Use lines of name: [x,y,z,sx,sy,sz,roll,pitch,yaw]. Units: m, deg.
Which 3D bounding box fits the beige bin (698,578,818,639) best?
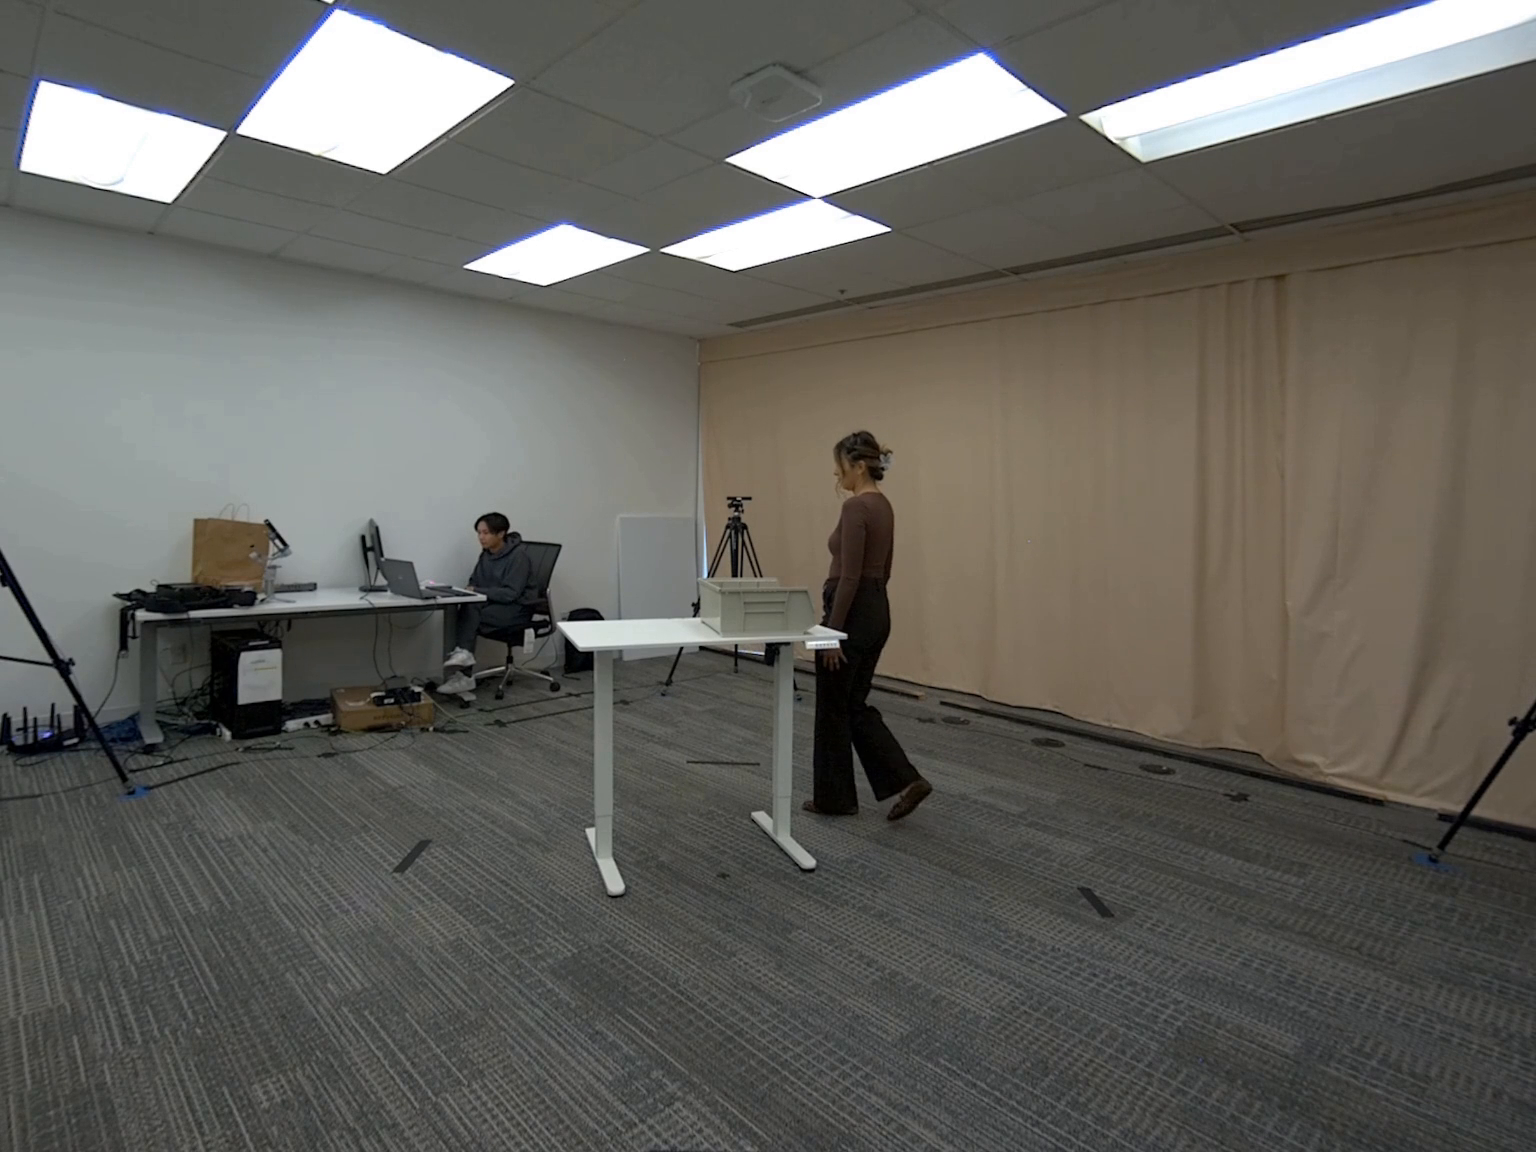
beige bin: [-0.064,0.118,3.289,0.373,0.188,0.429,-2,6,-16]
